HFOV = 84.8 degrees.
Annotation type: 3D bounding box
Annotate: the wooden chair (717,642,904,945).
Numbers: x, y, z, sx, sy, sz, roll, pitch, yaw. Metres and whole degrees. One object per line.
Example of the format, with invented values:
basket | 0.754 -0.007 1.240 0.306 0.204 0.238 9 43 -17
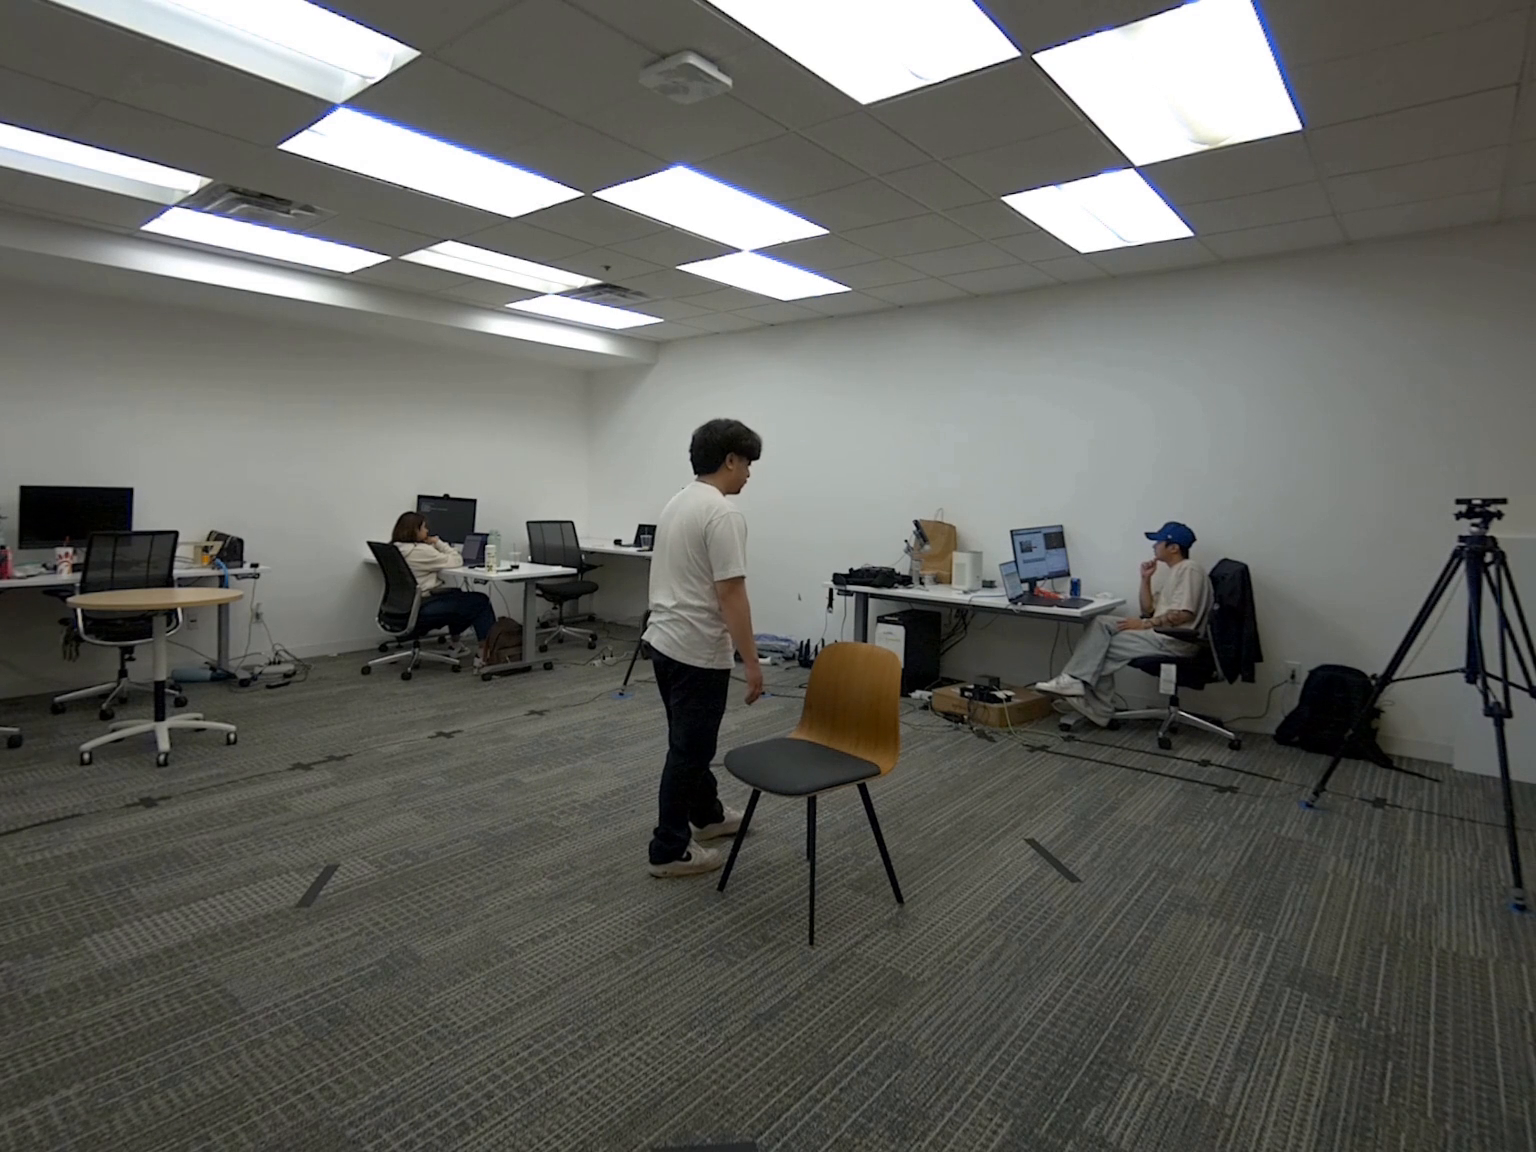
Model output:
wooden chair | 0.143 0.674 2.875 0.506 0.877 0.494 4 1 -42
